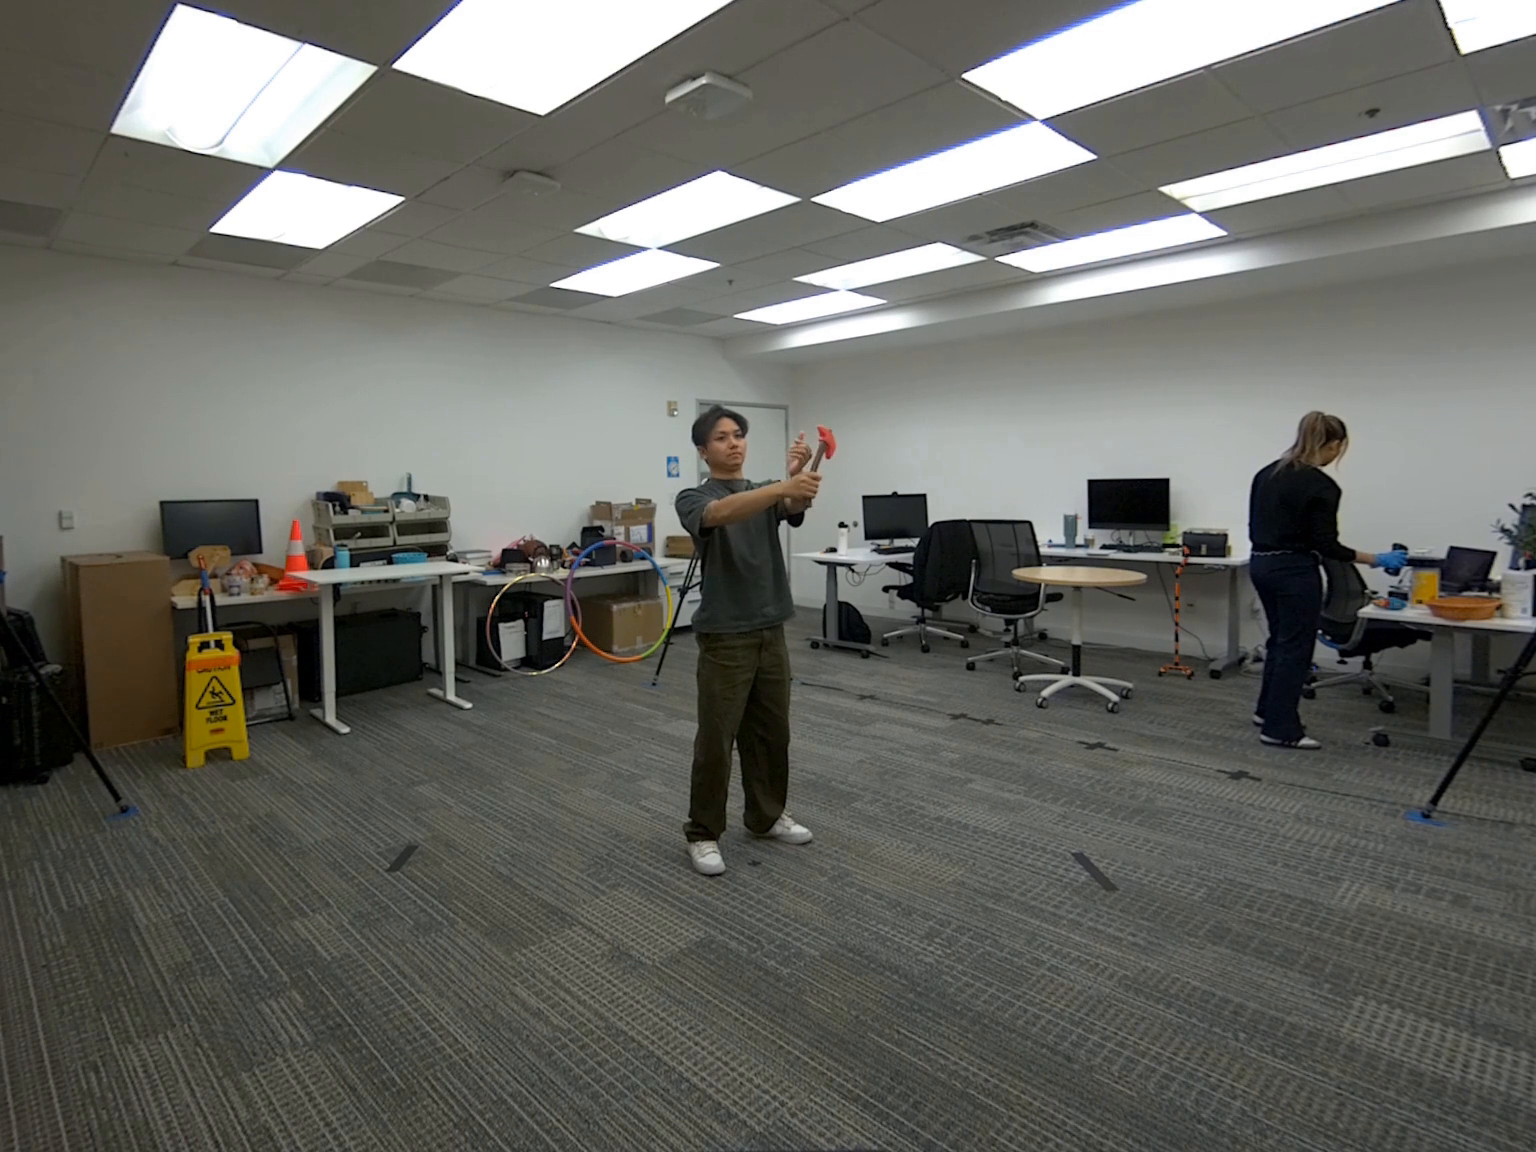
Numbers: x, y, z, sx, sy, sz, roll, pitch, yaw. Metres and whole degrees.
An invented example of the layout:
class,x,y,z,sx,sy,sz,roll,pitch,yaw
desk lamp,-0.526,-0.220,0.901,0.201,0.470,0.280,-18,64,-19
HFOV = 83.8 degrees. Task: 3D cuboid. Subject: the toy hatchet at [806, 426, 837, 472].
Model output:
class,x,y,z,sx,sy,sz,roll,pitch,yaw
toy hatchet,0.169,-0.346,2.766,0.030,0.271,0.127,7,-5,32
